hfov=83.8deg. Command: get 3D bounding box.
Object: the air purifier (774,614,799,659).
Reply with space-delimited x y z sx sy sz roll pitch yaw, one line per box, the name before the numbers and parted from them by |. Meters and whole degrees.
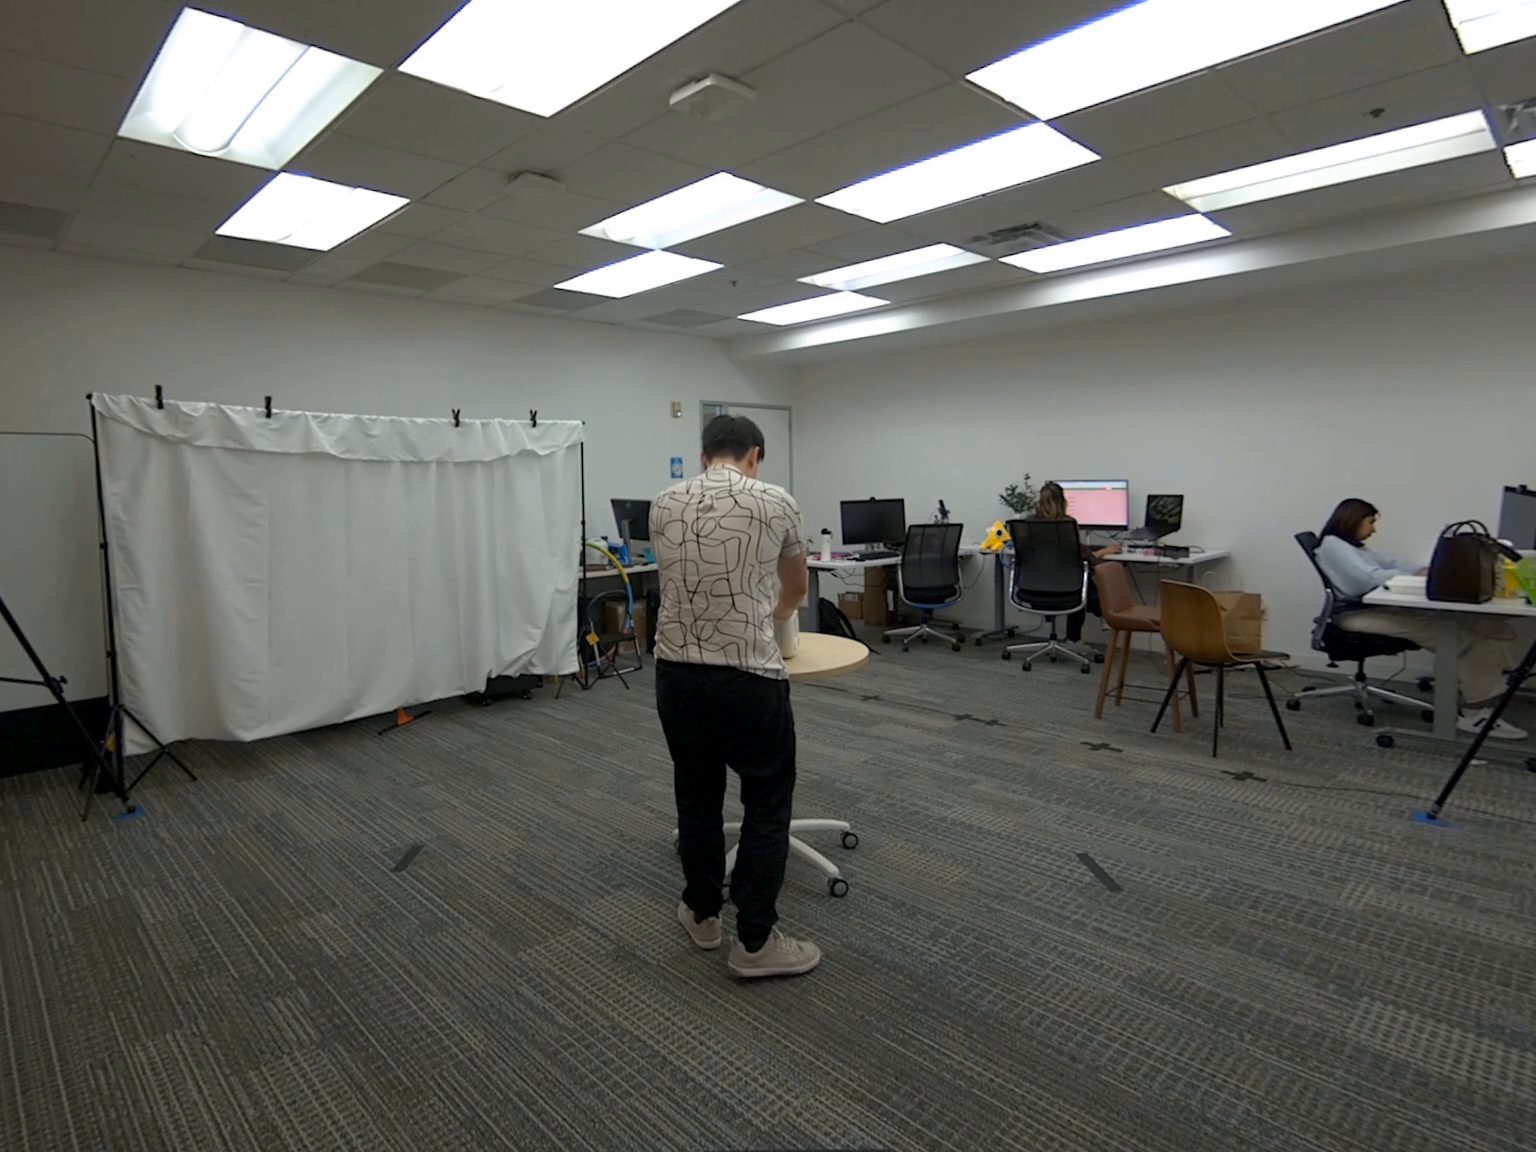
air purifier | -0.019 0.190 2.995 0.268 0.171 0.170 0 7 11
